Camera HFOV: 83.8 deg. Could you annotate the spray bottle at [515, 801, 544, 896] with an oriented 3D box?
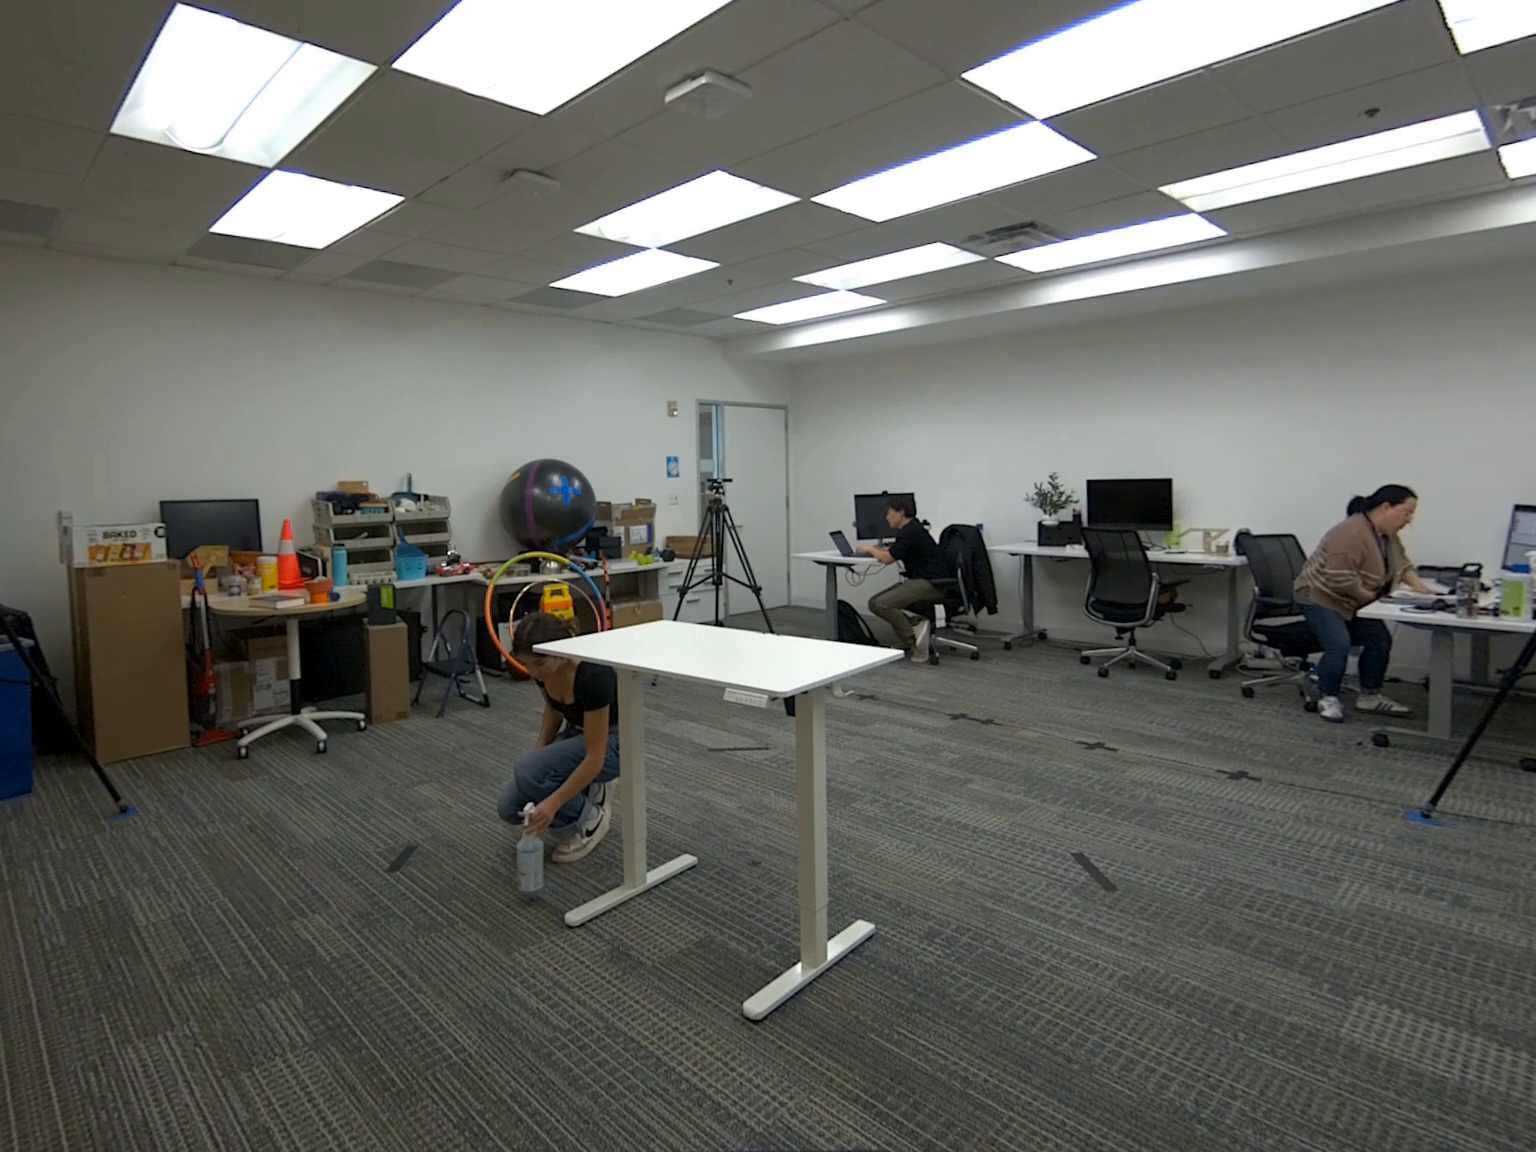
[{"bbox_3d":[-0.797,0.906,2.850,0.089,0.296,0.088,4,7,23],"label":"spray bottle"}]
